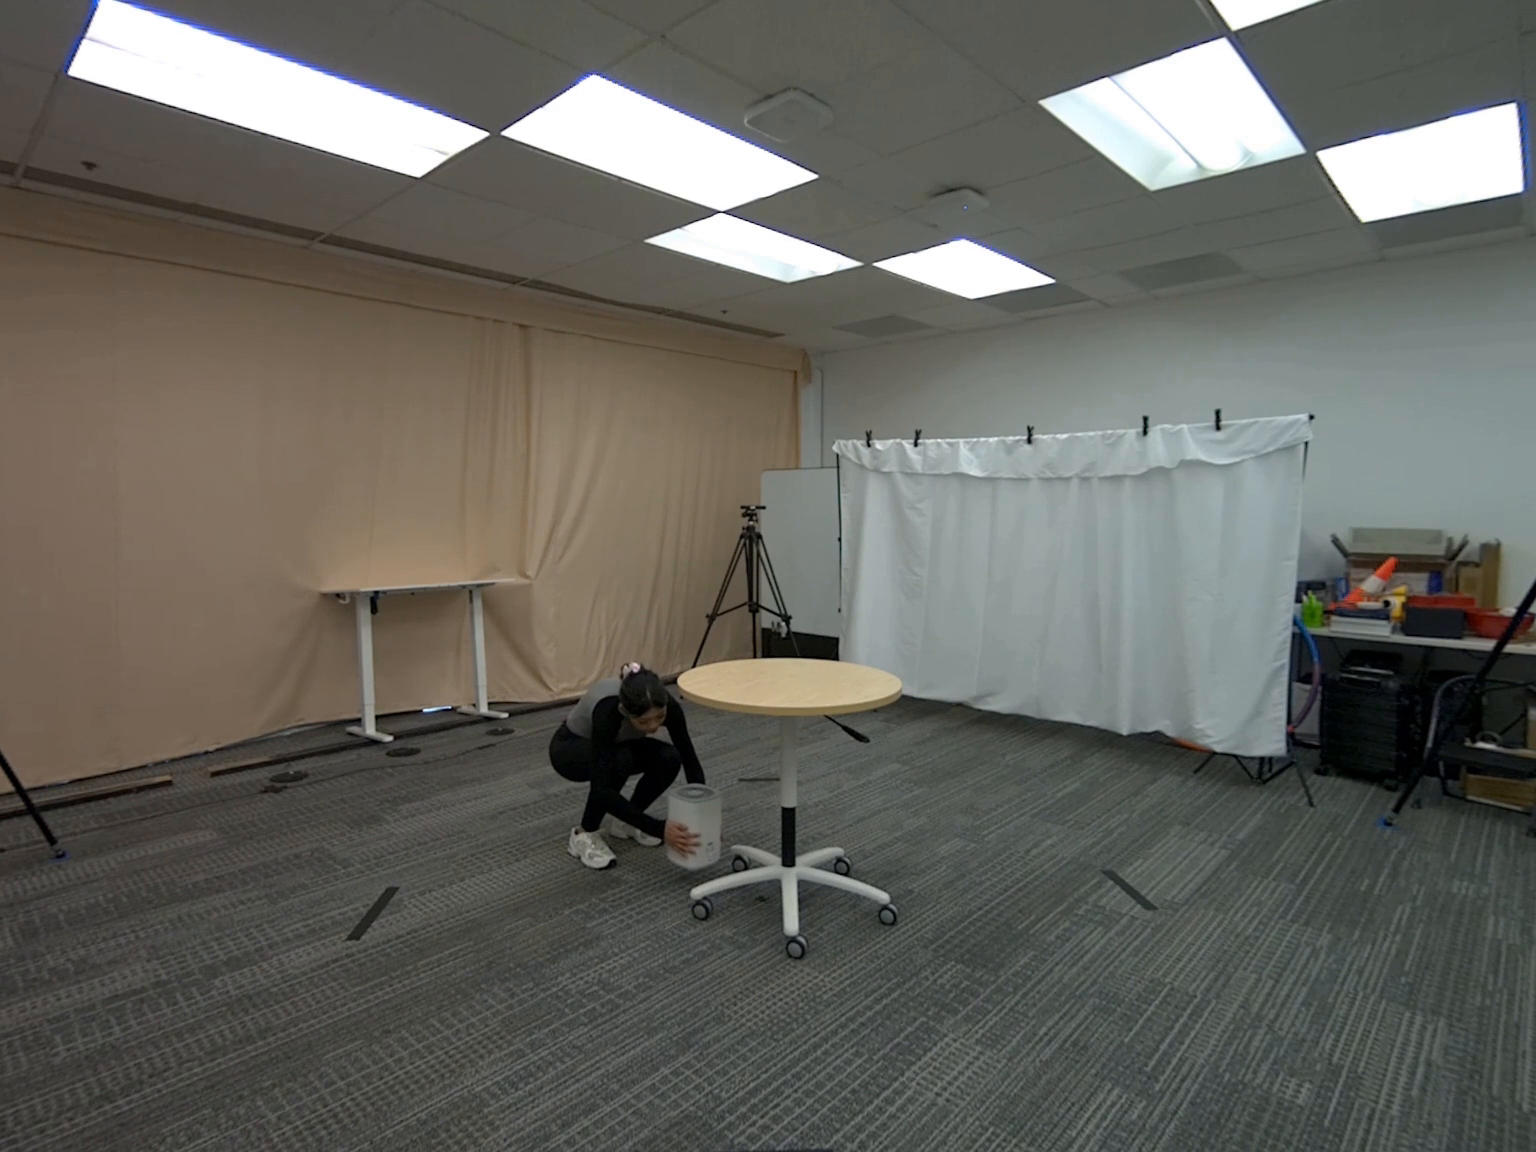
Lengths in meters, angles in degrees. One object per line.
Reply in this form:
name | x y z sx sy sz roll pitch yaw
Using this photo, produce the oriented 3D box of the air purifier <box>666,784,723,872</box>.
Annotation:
air purifier | -0.273 0.929 3.124 0.177 0.265 0.166 5 5 41
